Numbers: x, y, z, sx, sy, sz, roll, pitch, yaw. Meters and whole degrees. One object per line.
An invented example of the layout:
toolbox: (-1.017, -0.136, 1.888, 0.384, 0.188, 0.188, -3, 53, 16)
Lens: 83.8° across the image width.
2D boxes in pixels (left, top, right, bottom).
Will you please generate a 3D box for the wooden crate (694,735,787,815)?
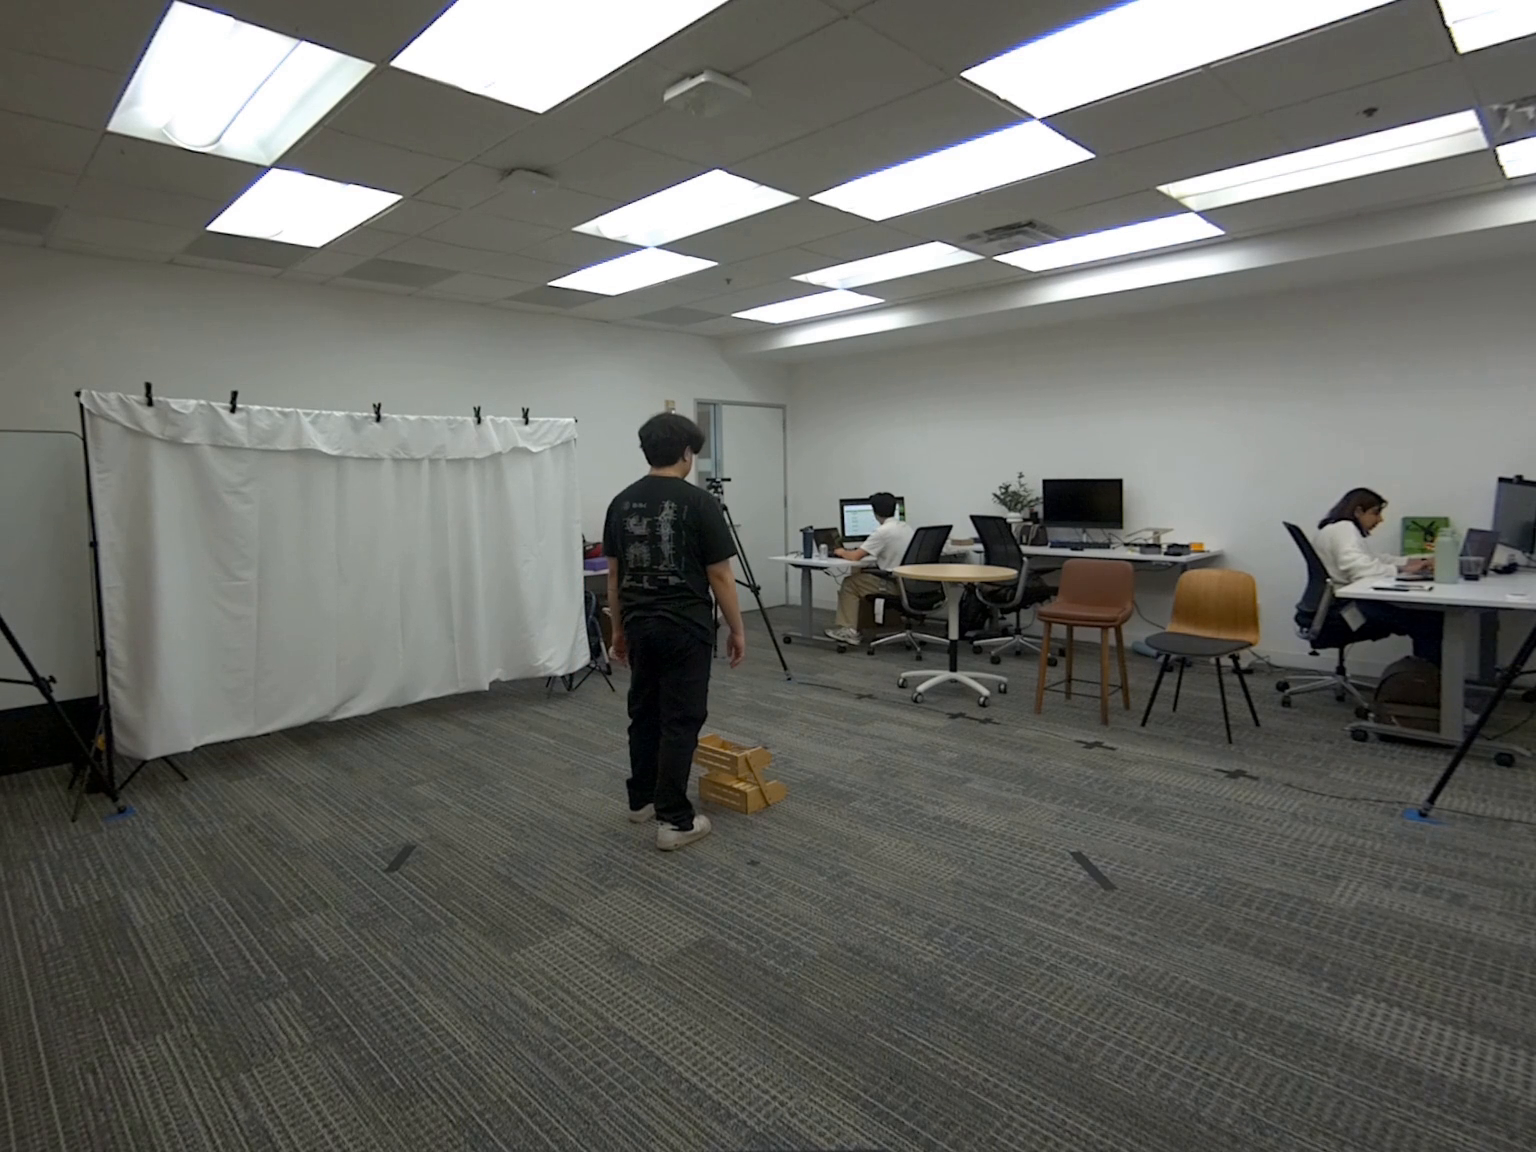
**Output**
wooden crate: (-0.128, 0.839, 3.733, 0.334, 0.272, 0.294, 4, 8, 44)
